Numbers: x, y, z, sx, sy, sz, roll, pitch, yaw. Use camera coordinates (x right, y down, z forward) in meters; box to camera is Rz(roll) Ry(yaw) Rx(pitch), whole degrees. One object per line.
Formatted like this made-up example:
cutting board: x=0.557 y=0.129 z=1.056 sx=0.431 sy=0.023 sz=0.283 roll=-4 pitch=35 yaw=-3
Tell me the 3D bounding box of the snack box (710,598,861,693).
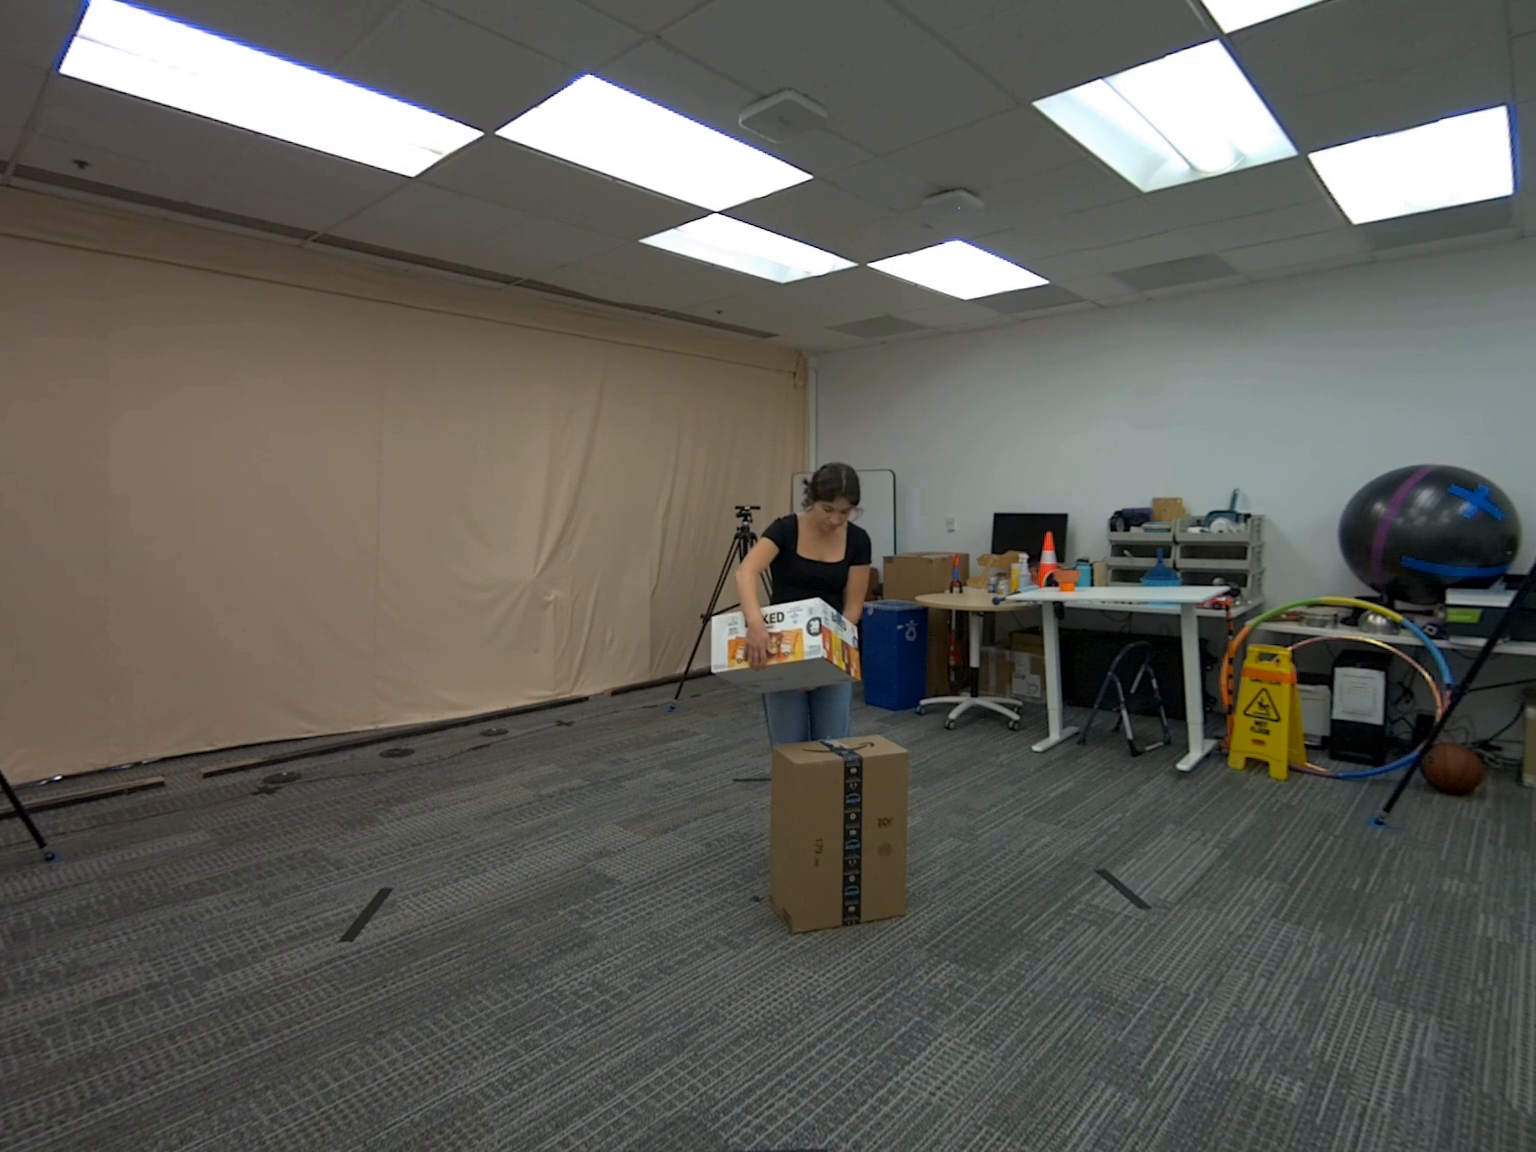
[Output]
snack box: x=0.064 y=0.255 z=2.926 sx=0.414 sy=0.208 sz=0.328 roll=-11 pitch=-25 yaw=25
